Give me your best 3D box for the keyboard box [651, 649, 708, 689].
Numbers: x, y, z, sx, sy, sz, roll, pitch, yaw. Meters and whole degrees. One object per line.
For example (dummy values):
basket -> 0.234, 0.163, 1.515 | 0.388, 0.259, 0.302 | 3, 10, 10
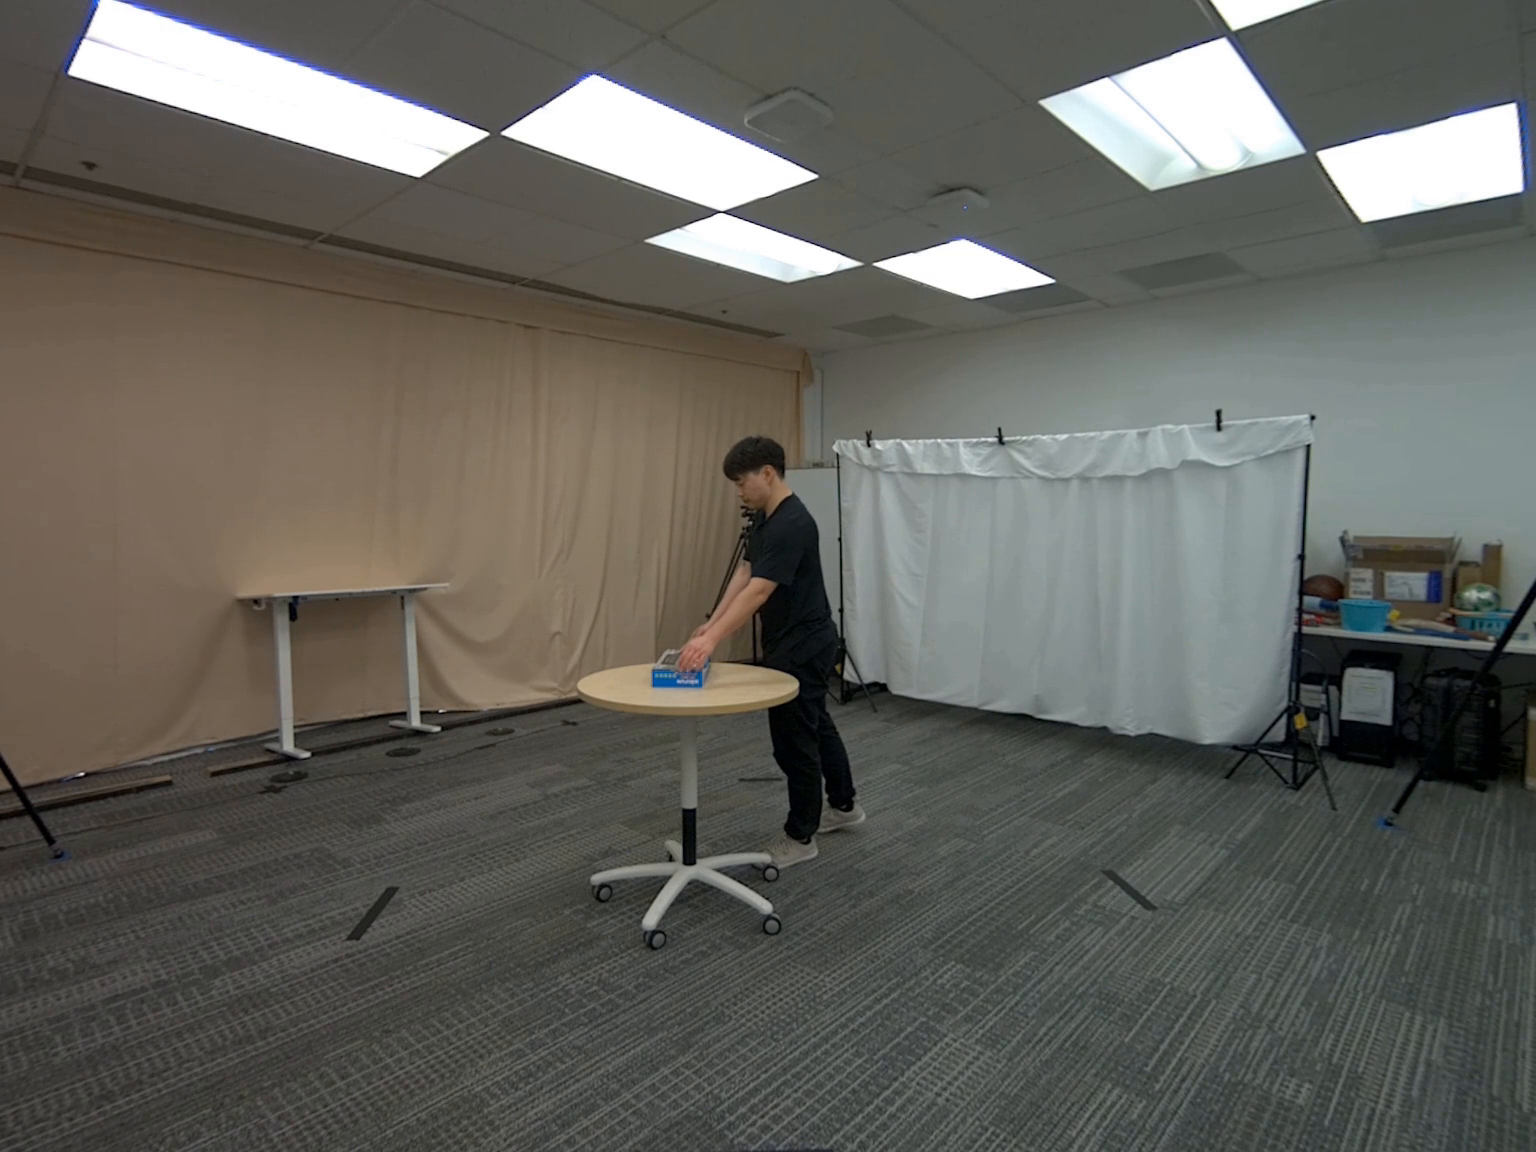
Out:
keyboard box -> -0.306, 0.329, 3.041 | 0.176, 0.059, 0.438 | -1, 4, -1
